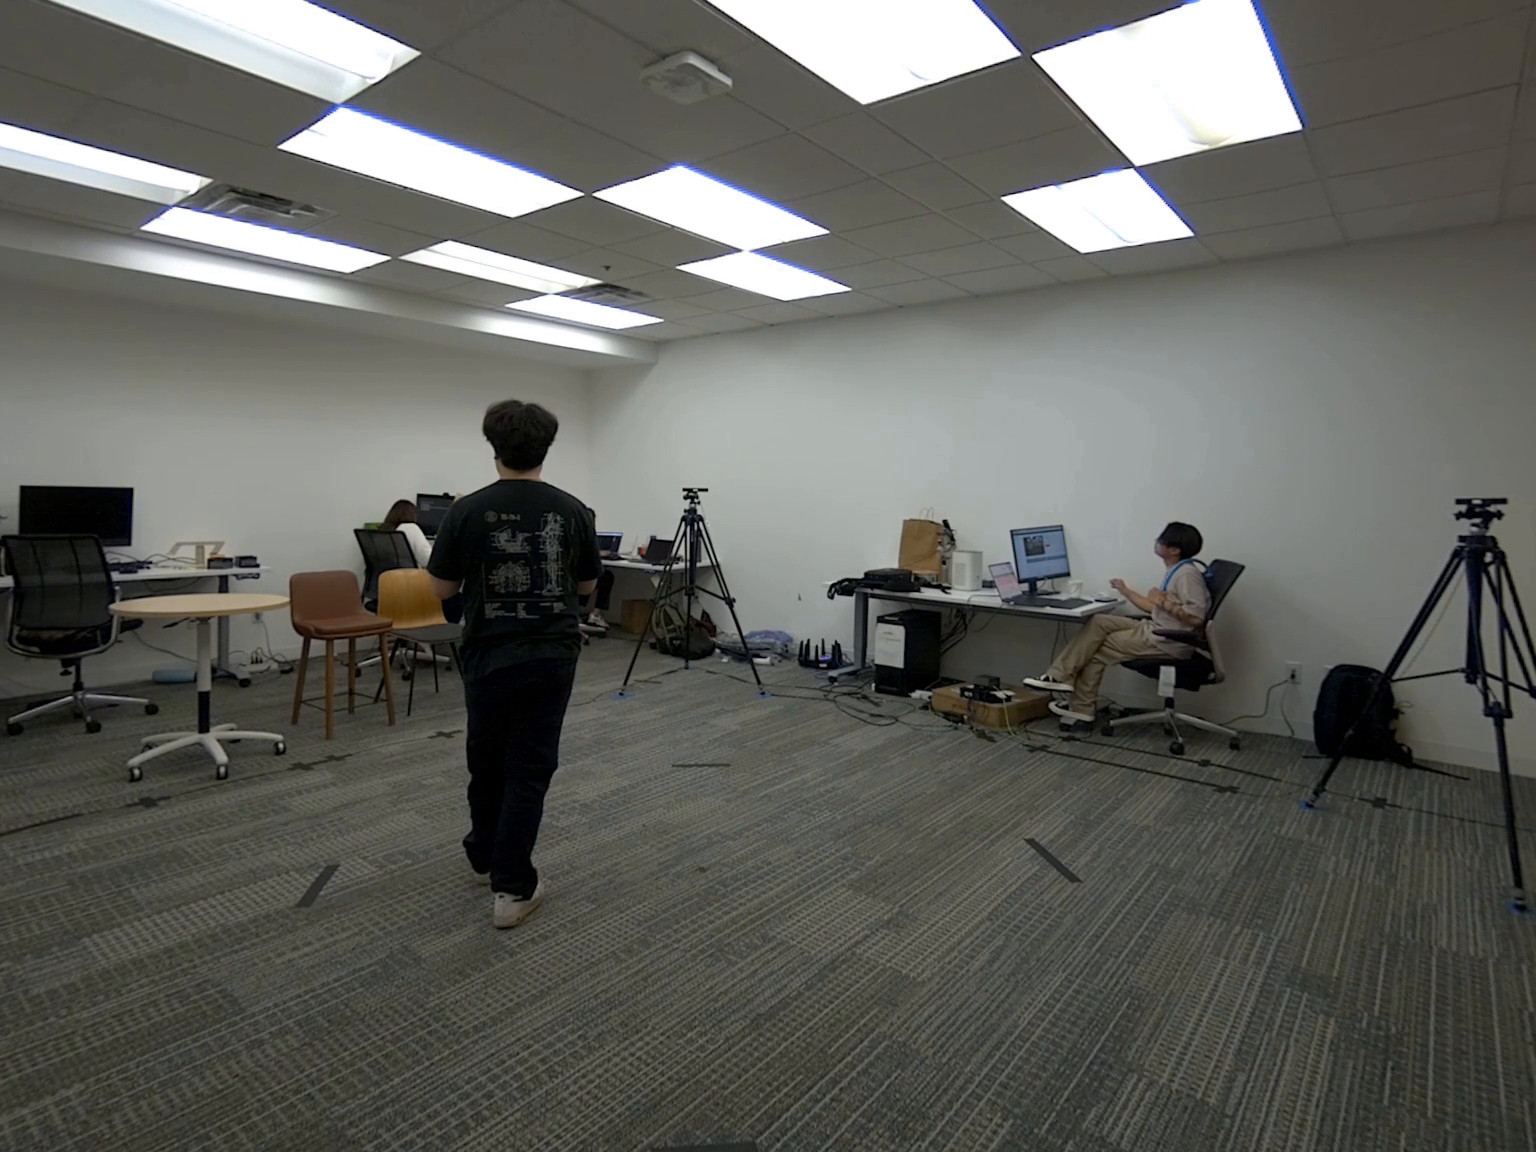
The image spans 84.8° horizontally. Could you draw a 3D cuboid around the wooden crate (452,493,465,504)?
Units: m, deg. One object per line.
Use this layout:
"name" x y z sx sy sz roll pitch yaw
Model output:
"wooden crate" -0.999 -0.173 3.101 0.315 0.271 0.312 3 9 -29
